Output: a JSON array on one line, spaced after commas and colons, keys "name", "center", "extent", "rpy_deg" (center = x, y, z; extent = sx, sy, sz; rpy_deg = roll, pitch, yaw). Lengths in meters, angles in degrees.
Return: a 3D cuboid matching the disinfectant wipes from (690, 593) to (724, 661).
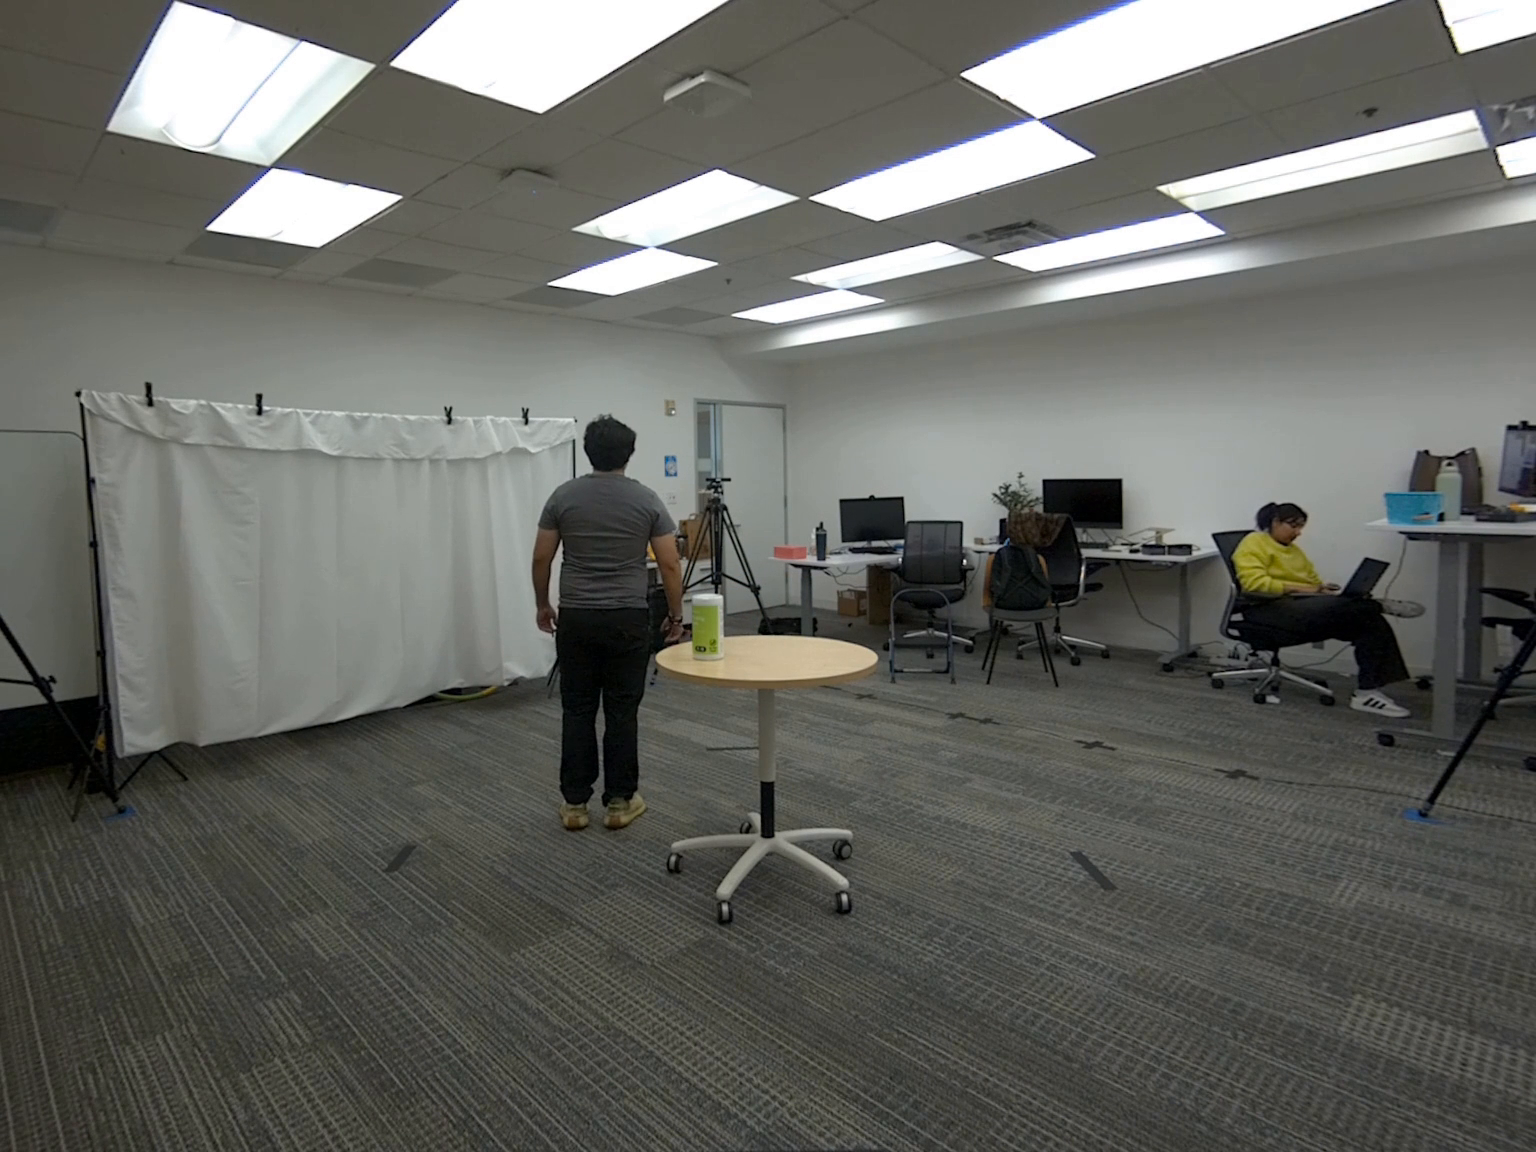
[{"name": "disinfectant wipes", "center": [-0.199, 0.177, 2.927], "extent": [0.118, 0.217, 0.118], "rpy_deg": [-2, 4, -2]}]
